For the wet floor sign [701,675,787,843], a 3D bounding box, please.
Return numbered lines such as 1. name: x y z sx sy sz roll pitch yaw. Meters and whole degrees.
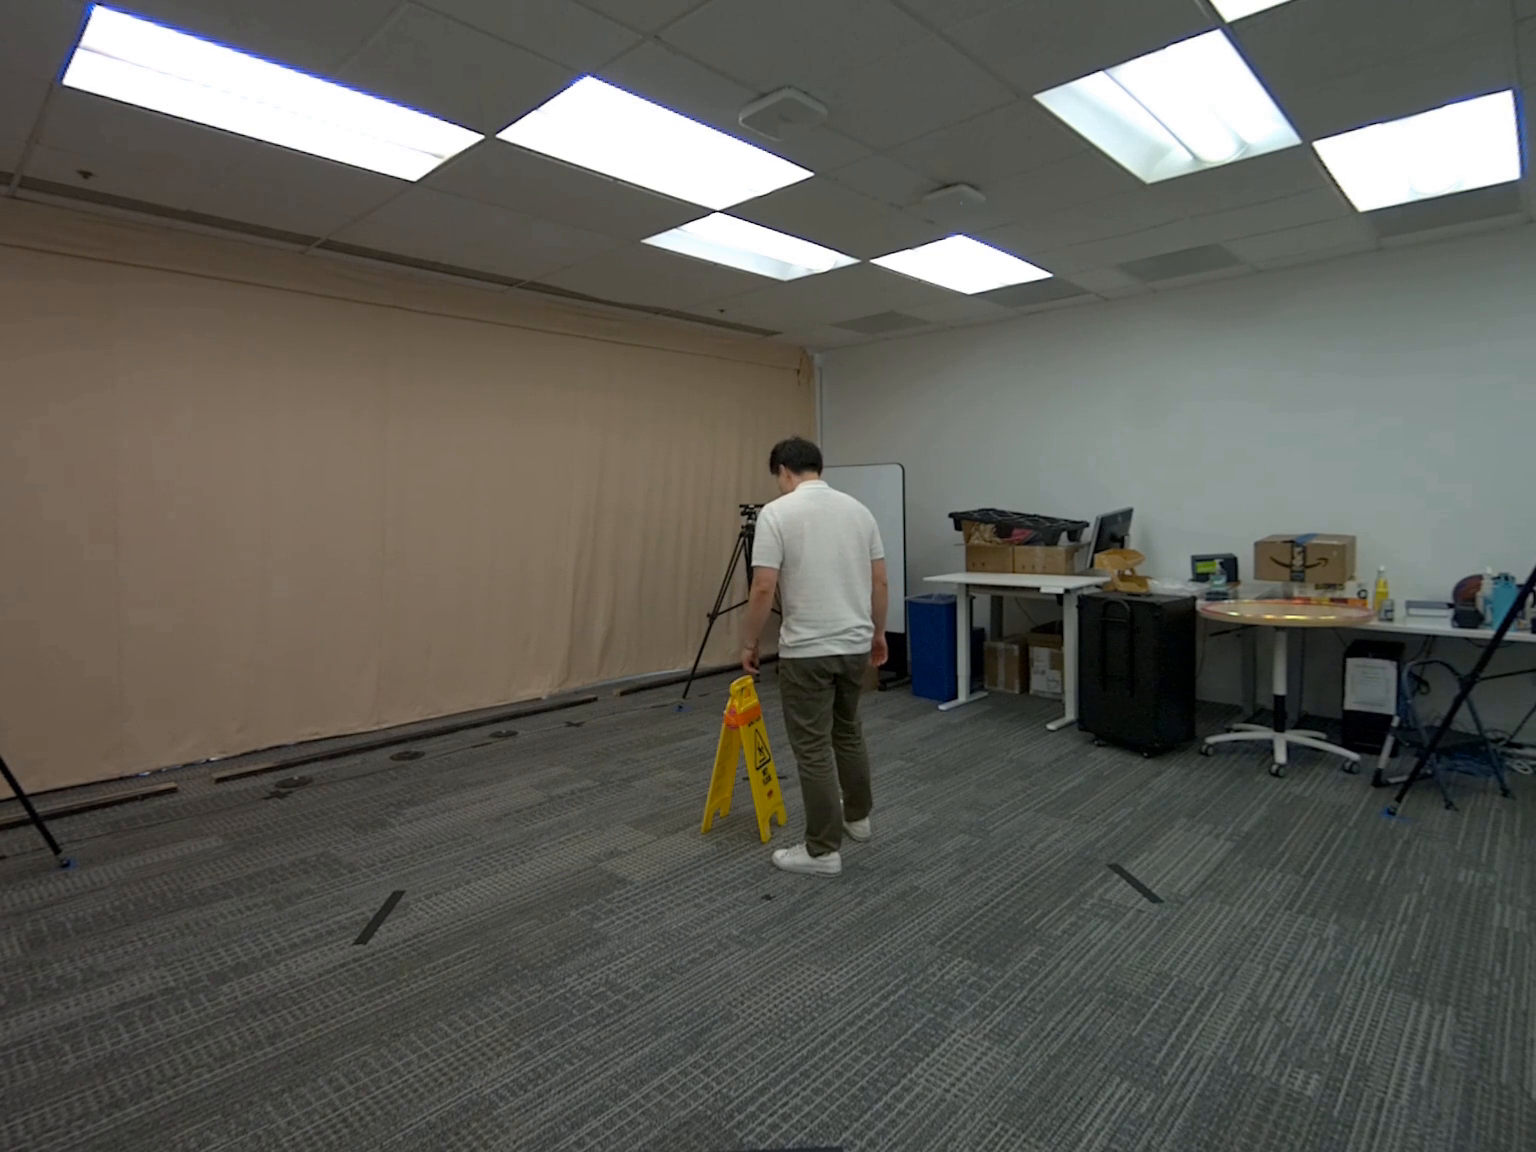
1. wet floor sign: -0.109 0.764 3.625 0.296 0.645 0.276 0 2 22
